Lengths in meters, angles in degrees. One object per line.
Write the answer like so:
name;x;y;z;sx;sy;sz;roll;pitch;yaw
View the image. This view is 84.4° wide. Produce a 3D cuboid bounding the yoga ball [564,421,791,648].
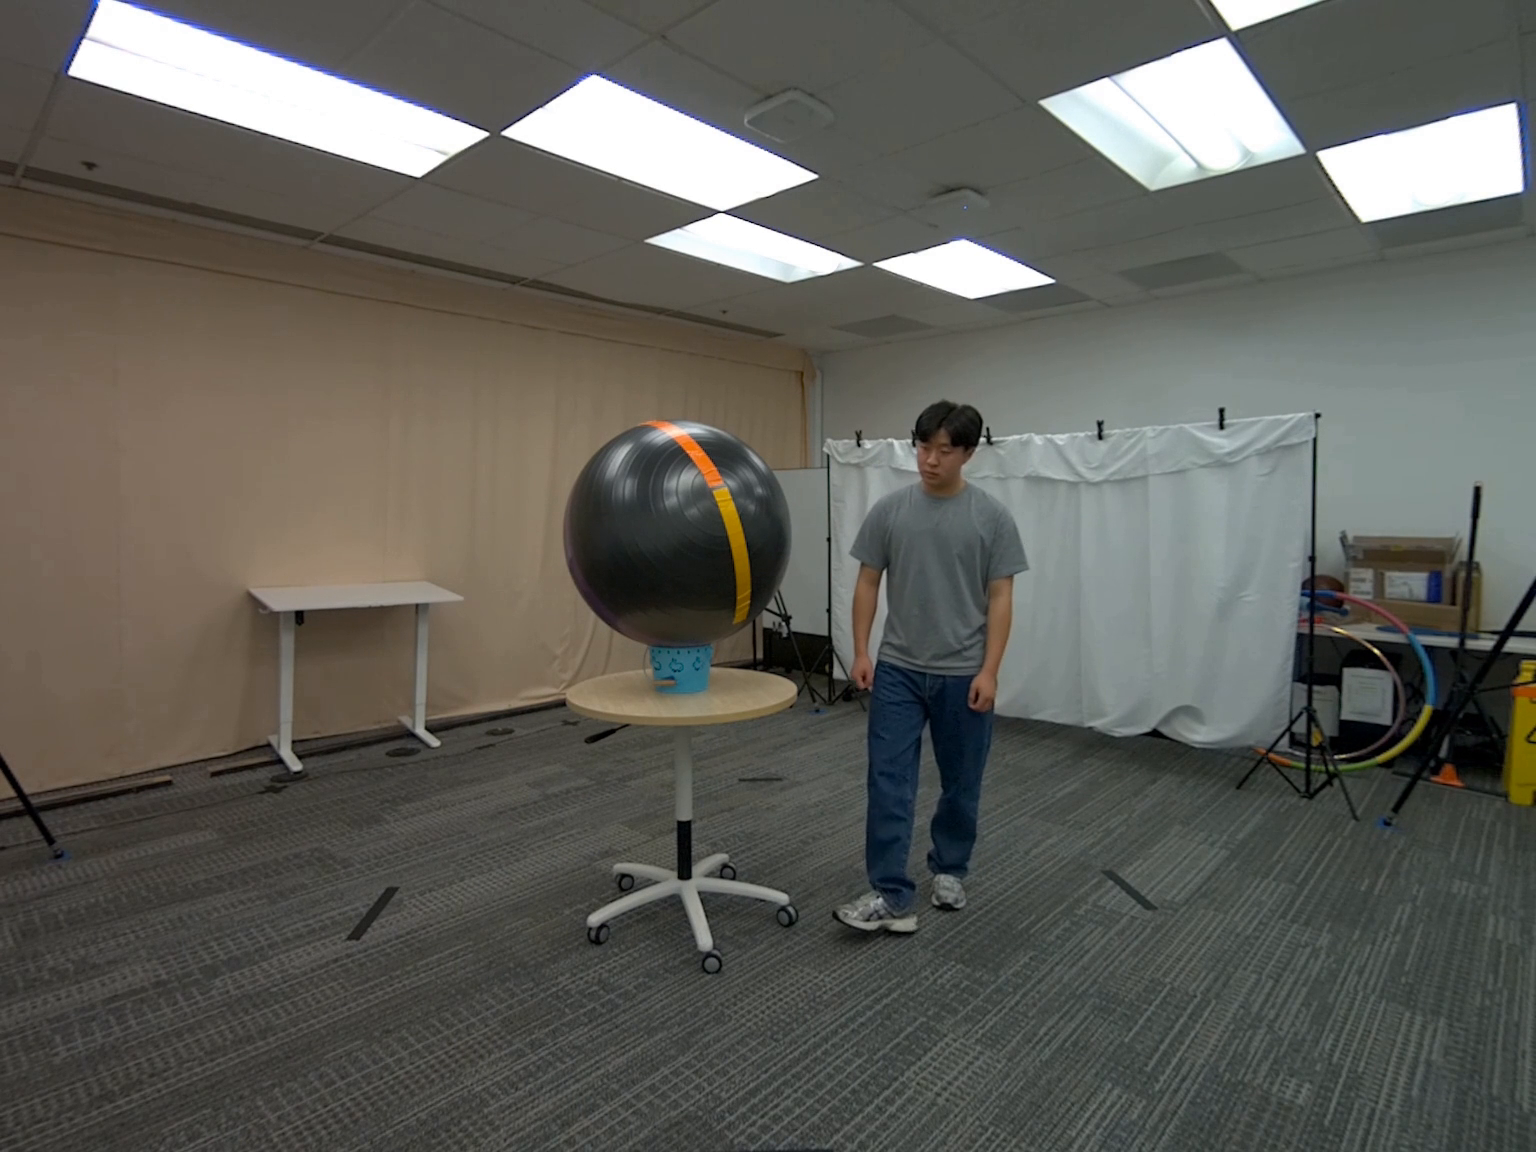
yoga ball;-0.304;-0.133;2.808;0.757;0.756;0.760;0;4;-2
